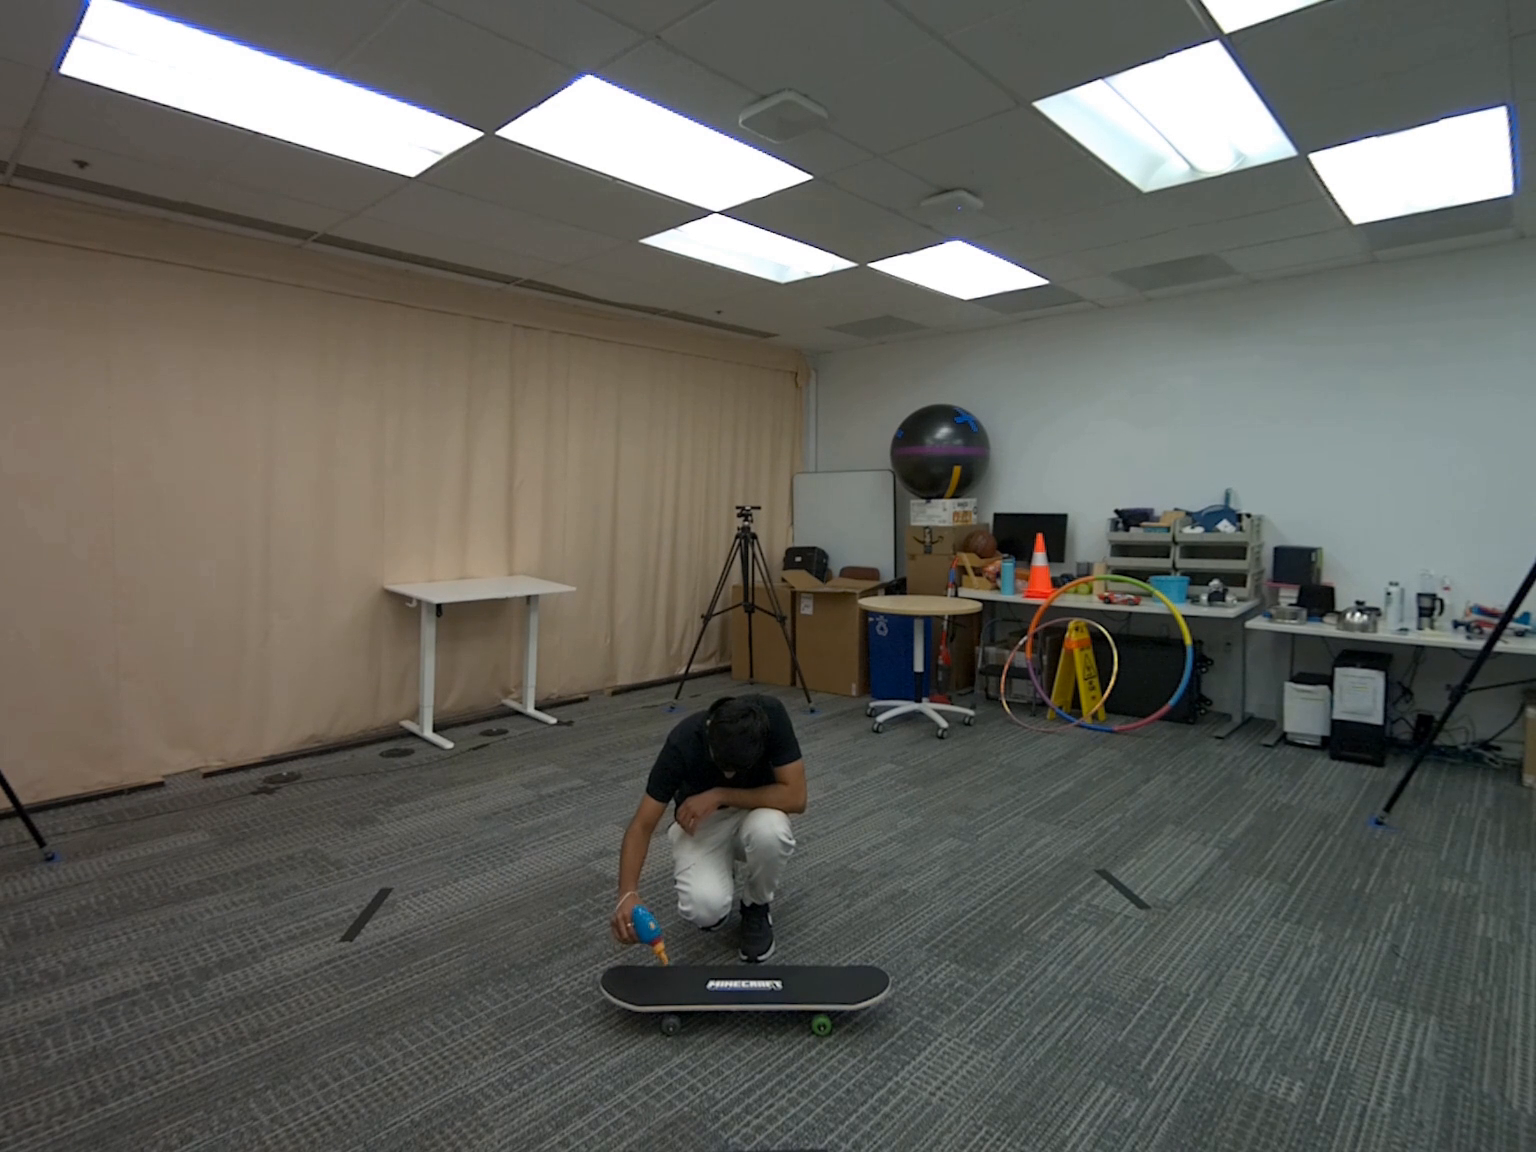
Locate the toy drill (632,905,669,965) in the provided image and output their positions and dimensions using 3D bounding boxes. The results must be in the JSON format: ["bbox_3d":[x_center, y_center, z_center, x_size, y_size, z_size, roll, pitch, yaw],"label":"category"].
[{"bbox_3d":[-0.326,0.985,2.305,0.060,0.173,0.146,-21,-19,-29],"label":"toy drill"}]
